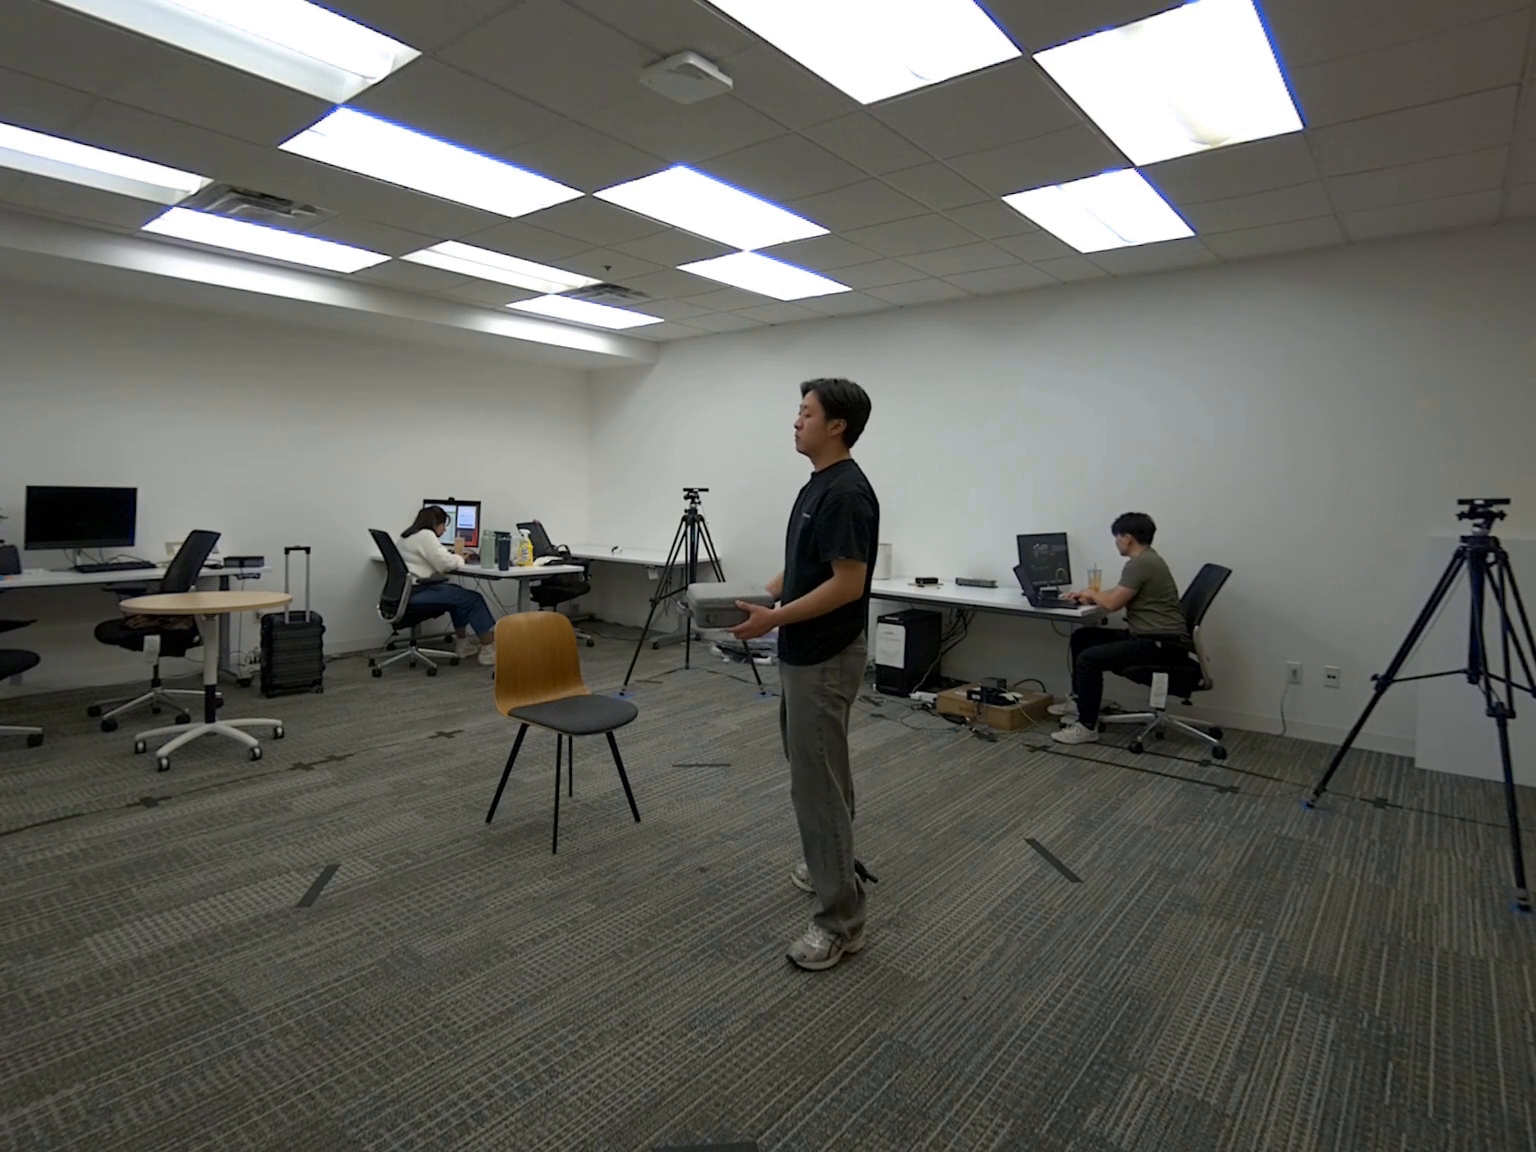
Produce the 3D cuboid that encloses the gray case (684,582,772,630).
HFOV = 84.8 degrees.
[{"bbox_3d":[-0.143,0.086,2.716,0.285,0.102,0.268,-2,9,-9],"label":"gray case"}]
